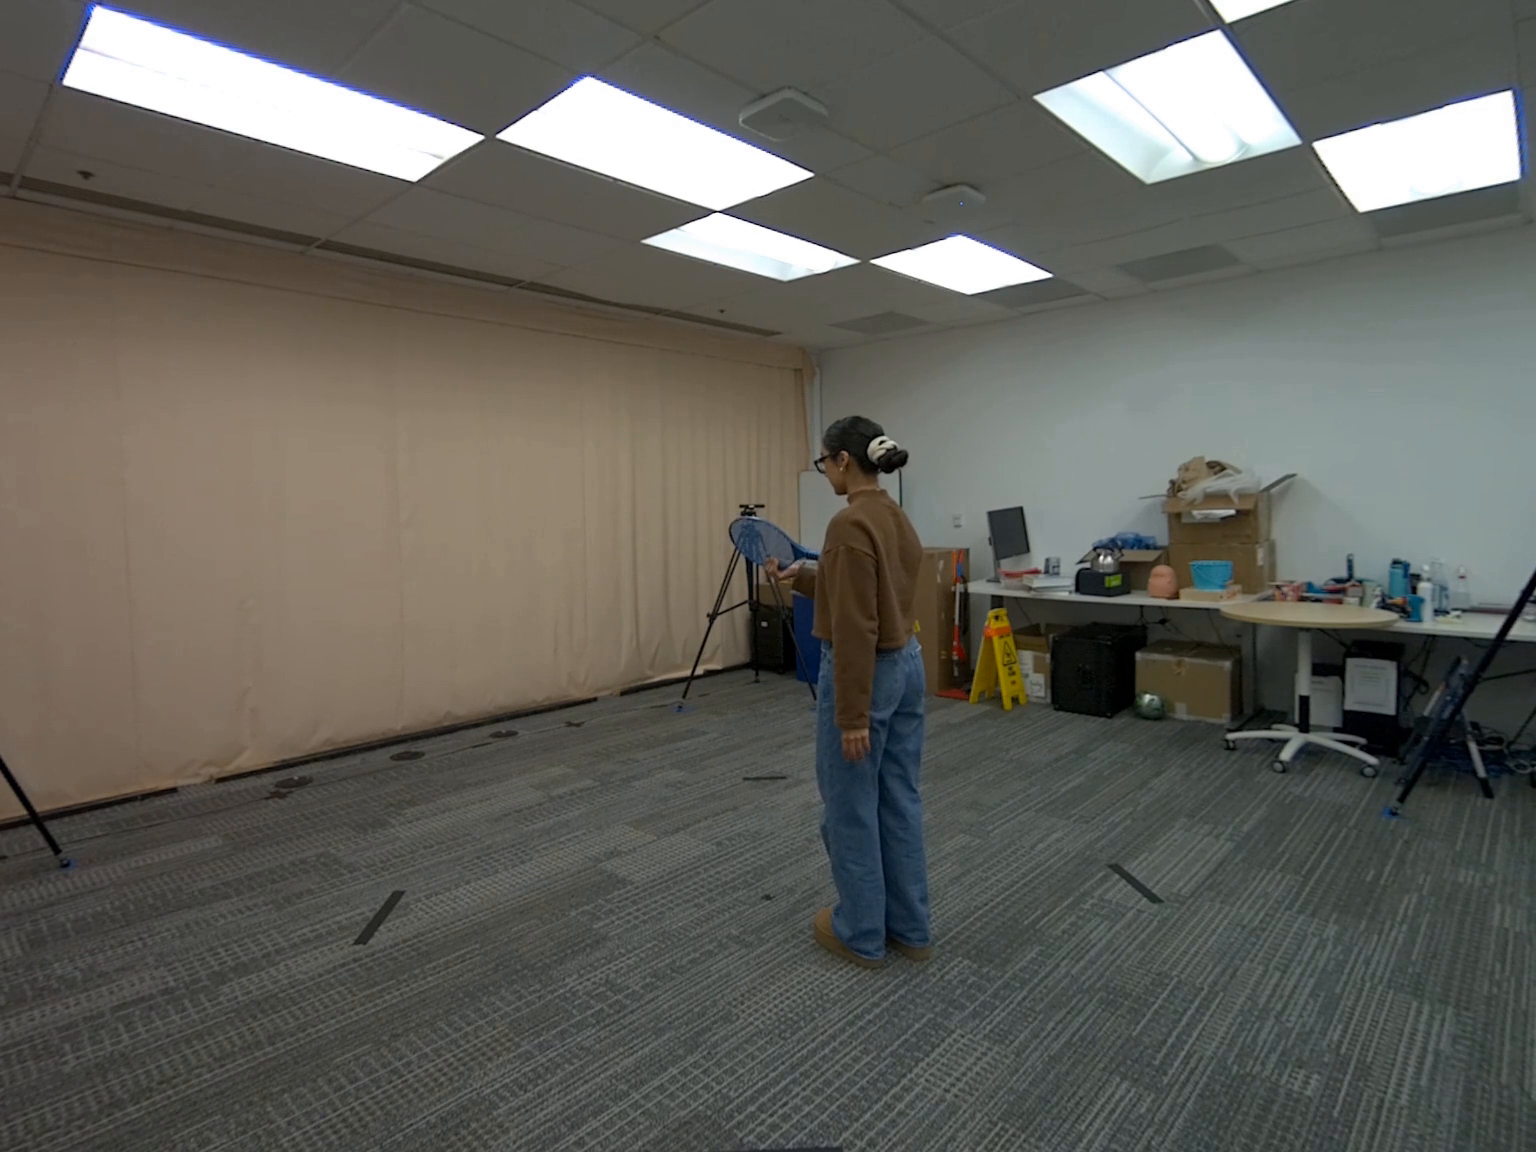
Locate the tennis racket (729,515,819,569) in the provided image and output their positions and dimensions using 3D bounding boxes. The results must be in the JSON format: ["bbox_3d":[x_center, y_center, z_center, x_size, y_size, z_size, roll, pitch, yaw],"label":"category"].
[{"bbox_3d":[0.050,-0.085,2.746,0.448,0.208,0.031,19,49,35],"label":"tennis racket"}]
